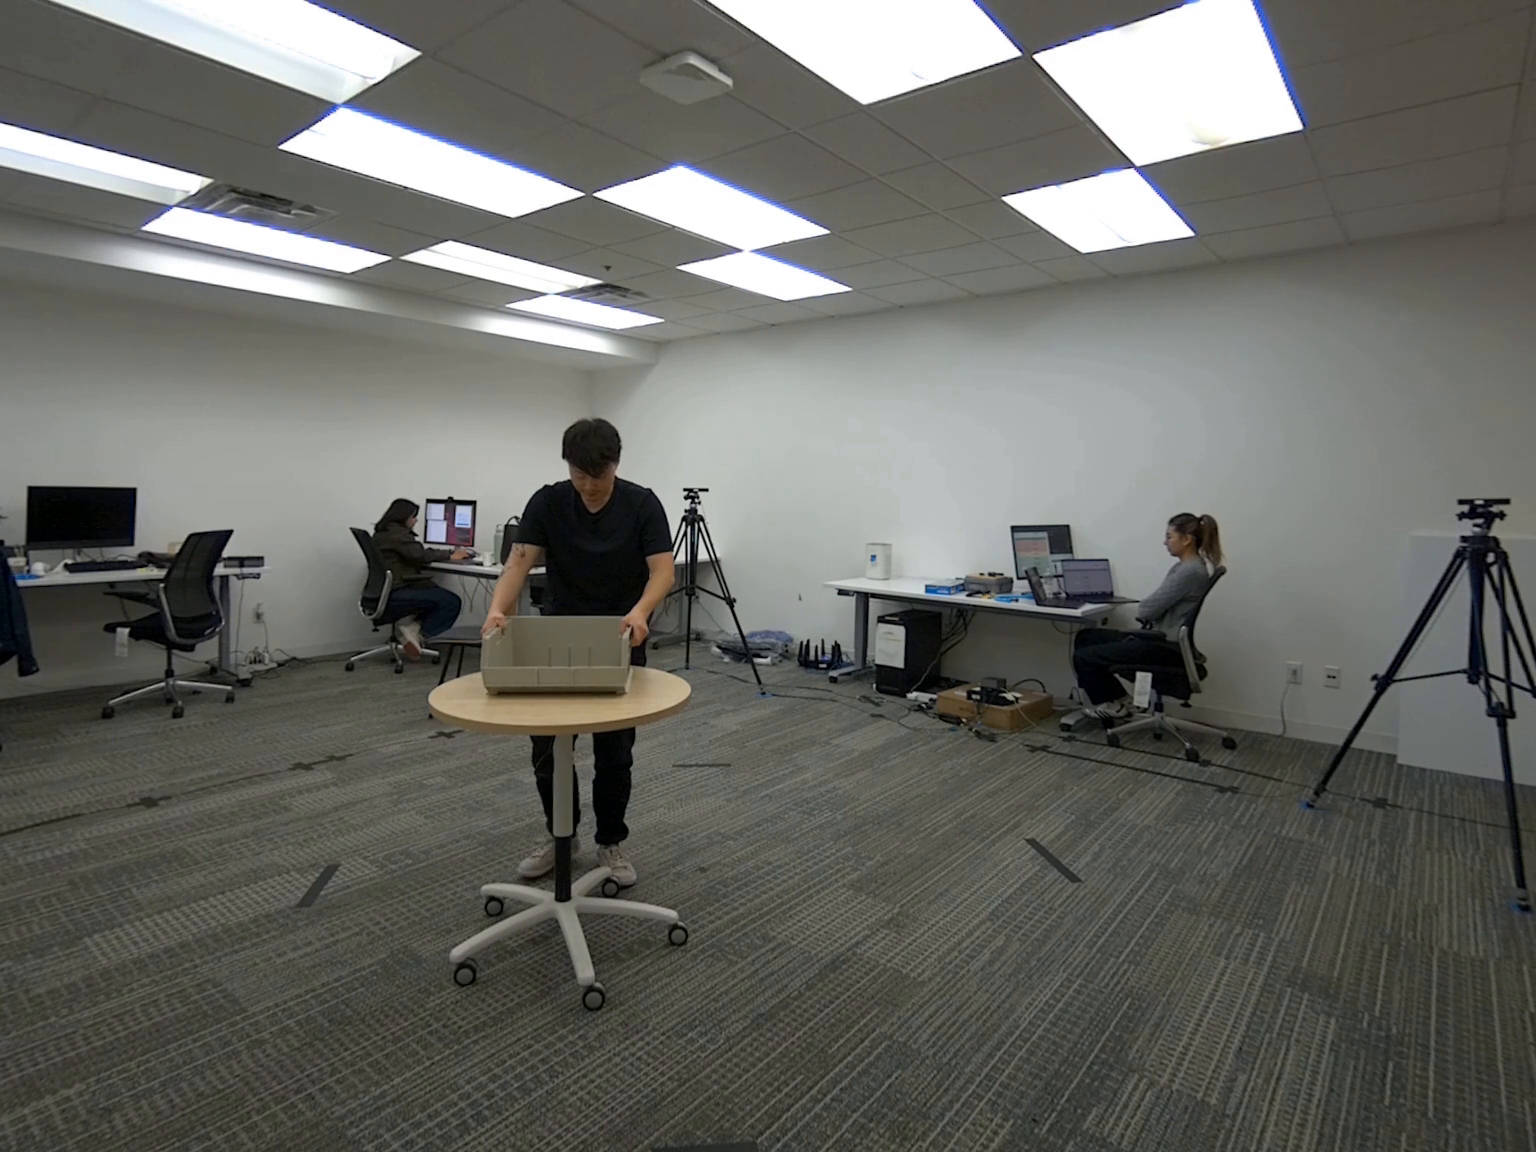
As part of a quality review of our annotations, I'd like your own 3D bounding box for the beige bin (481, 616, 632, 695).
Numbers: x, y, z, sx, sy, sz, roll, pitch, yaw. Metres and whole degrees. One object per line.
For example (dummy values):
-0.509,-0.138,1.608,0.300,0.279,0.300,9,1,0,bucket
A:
-0.645,0.242,2.609,0.420,0.188,0.380,0,4,-5,beige bin
